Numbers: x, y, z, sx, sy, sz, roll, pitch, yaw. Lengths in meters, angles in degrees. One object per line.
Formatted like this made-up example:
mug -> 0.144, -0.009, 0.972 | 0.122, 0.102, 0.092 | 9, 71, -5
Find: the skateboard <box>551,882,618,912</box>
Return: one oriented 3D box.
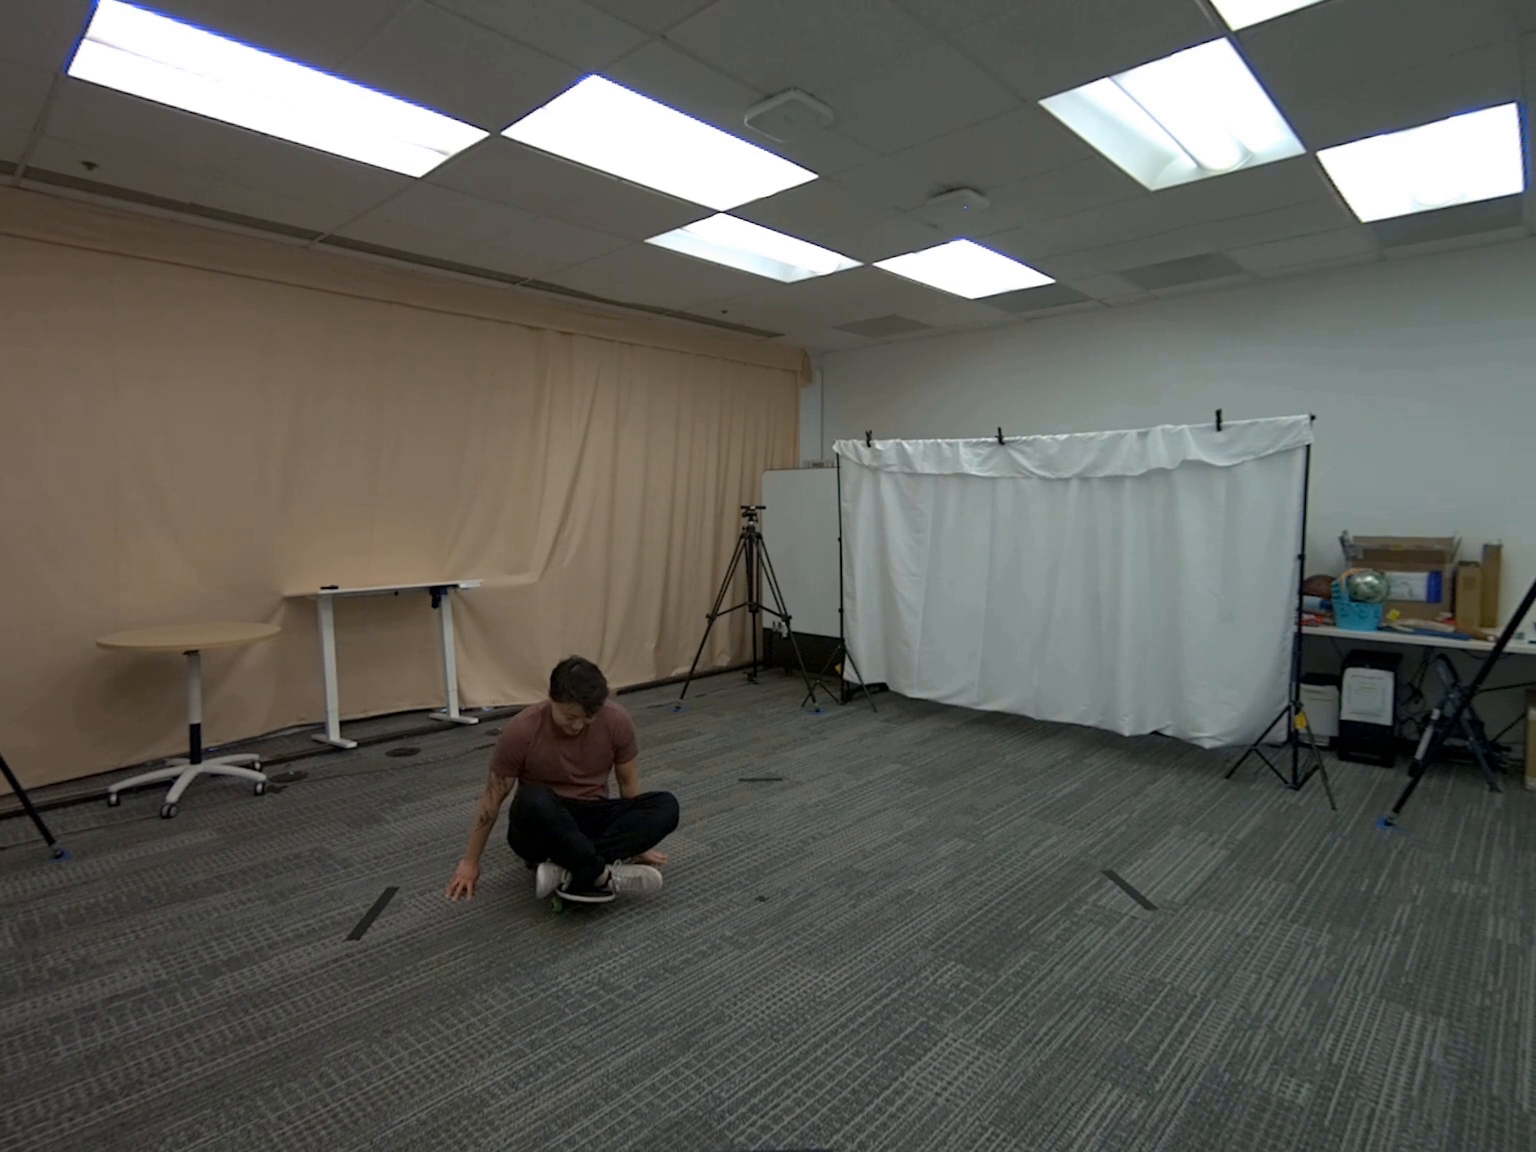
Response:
skateboard -> -0.750, 1.084, 3.126 | 0.187, 0.110, 0.809 | 9, -1, -33
